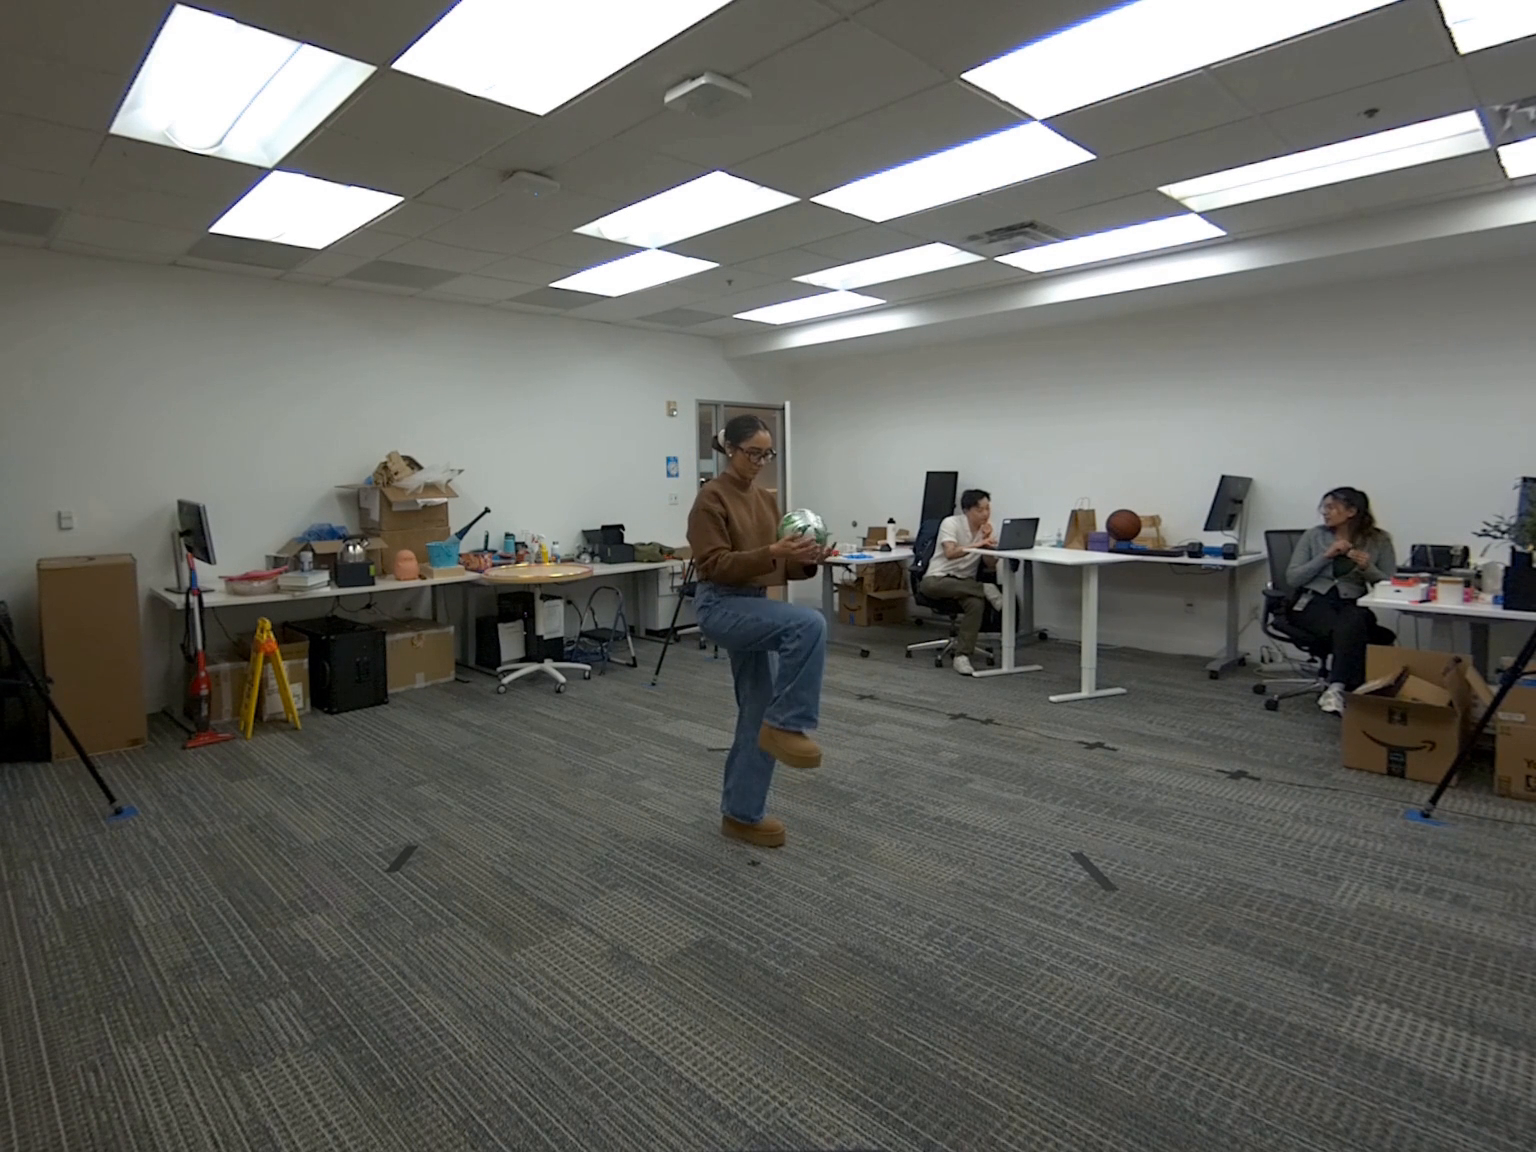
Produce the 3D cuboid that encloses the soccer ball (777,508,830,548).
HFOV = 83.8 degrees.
[{"bbox_3d":[0.130,-0.146,3.098,0.187,0.187,0.188,-1,5,-2],"label":"soccer ball"}]
